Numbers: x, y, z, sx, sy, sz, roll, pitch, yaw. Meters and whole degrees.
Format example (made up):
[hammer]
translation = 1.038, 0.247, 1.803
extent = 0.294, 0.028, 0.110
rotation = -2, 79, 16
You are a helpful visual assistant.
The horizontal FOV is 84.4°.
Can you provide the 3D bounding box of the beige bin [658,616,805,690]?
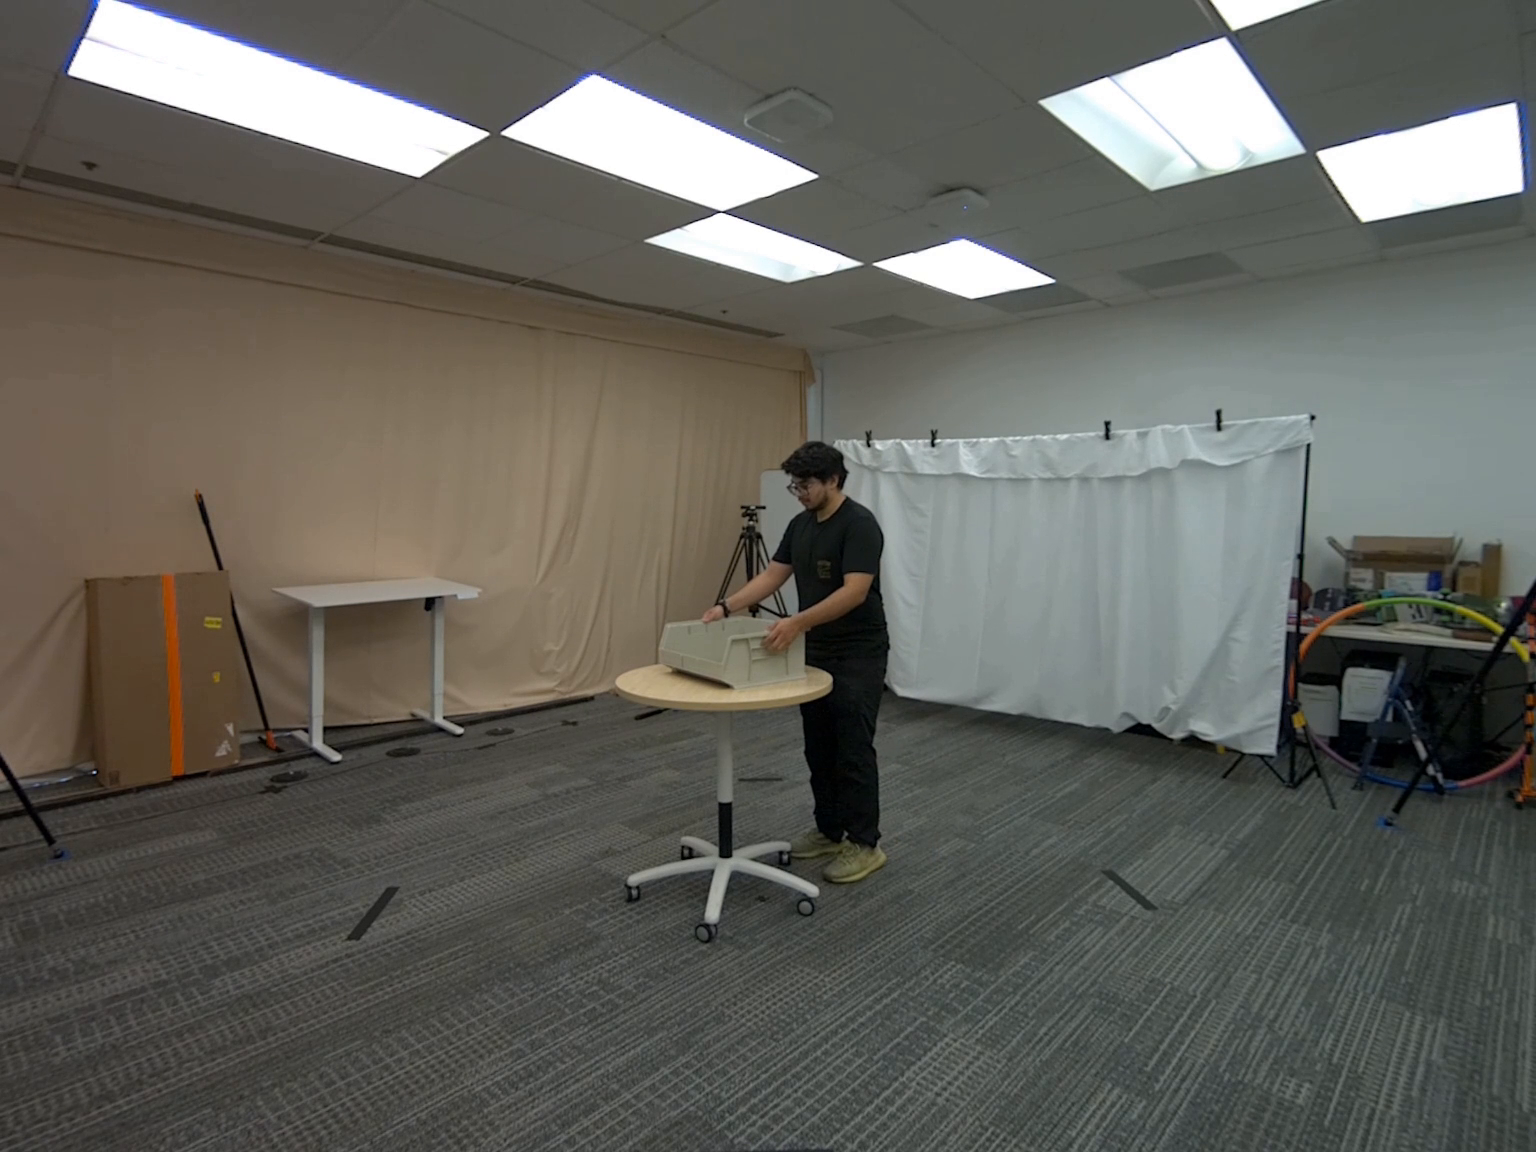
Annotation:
[beige bin]
translation = -0.124, 0.267, 3.033
extent = 0.366, 0.189, 0.435
rotation = -2, 4, -36
